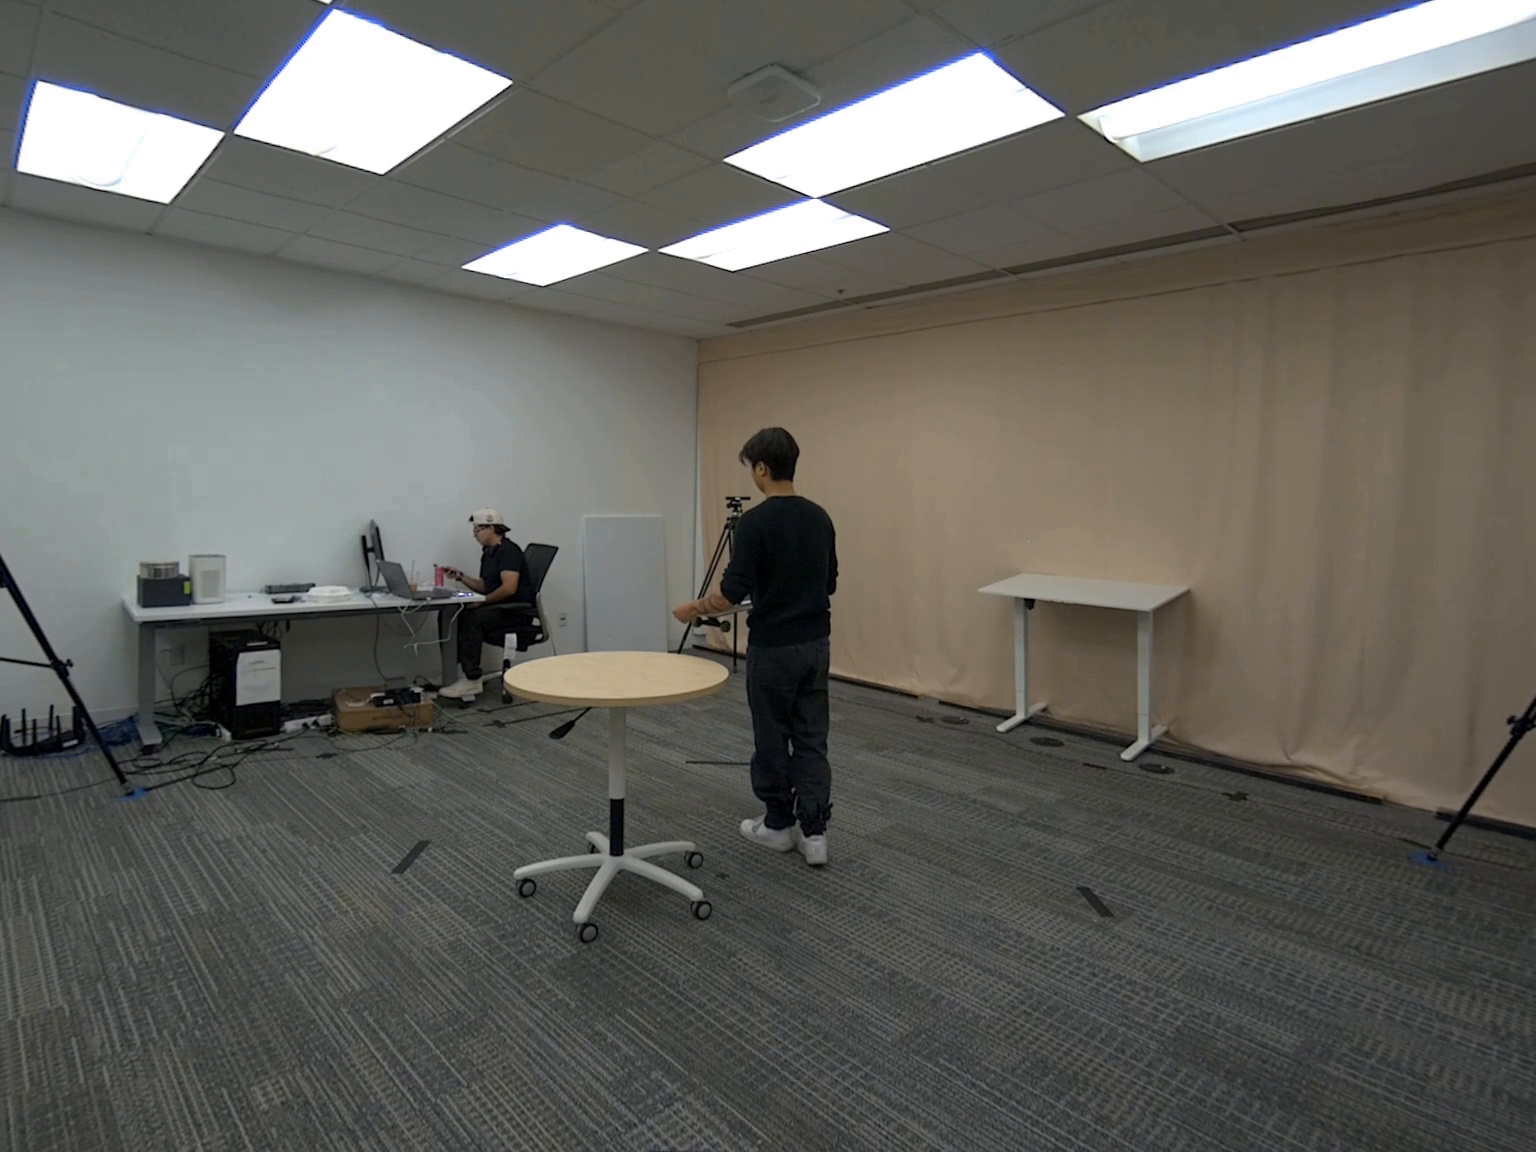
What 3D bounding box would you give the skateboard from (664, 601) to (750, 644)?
[{"bbox_3d":[-0.124,0.159,3.696,0.198,0.110,0.770,6,9,35],"label":"skateboard"}]
